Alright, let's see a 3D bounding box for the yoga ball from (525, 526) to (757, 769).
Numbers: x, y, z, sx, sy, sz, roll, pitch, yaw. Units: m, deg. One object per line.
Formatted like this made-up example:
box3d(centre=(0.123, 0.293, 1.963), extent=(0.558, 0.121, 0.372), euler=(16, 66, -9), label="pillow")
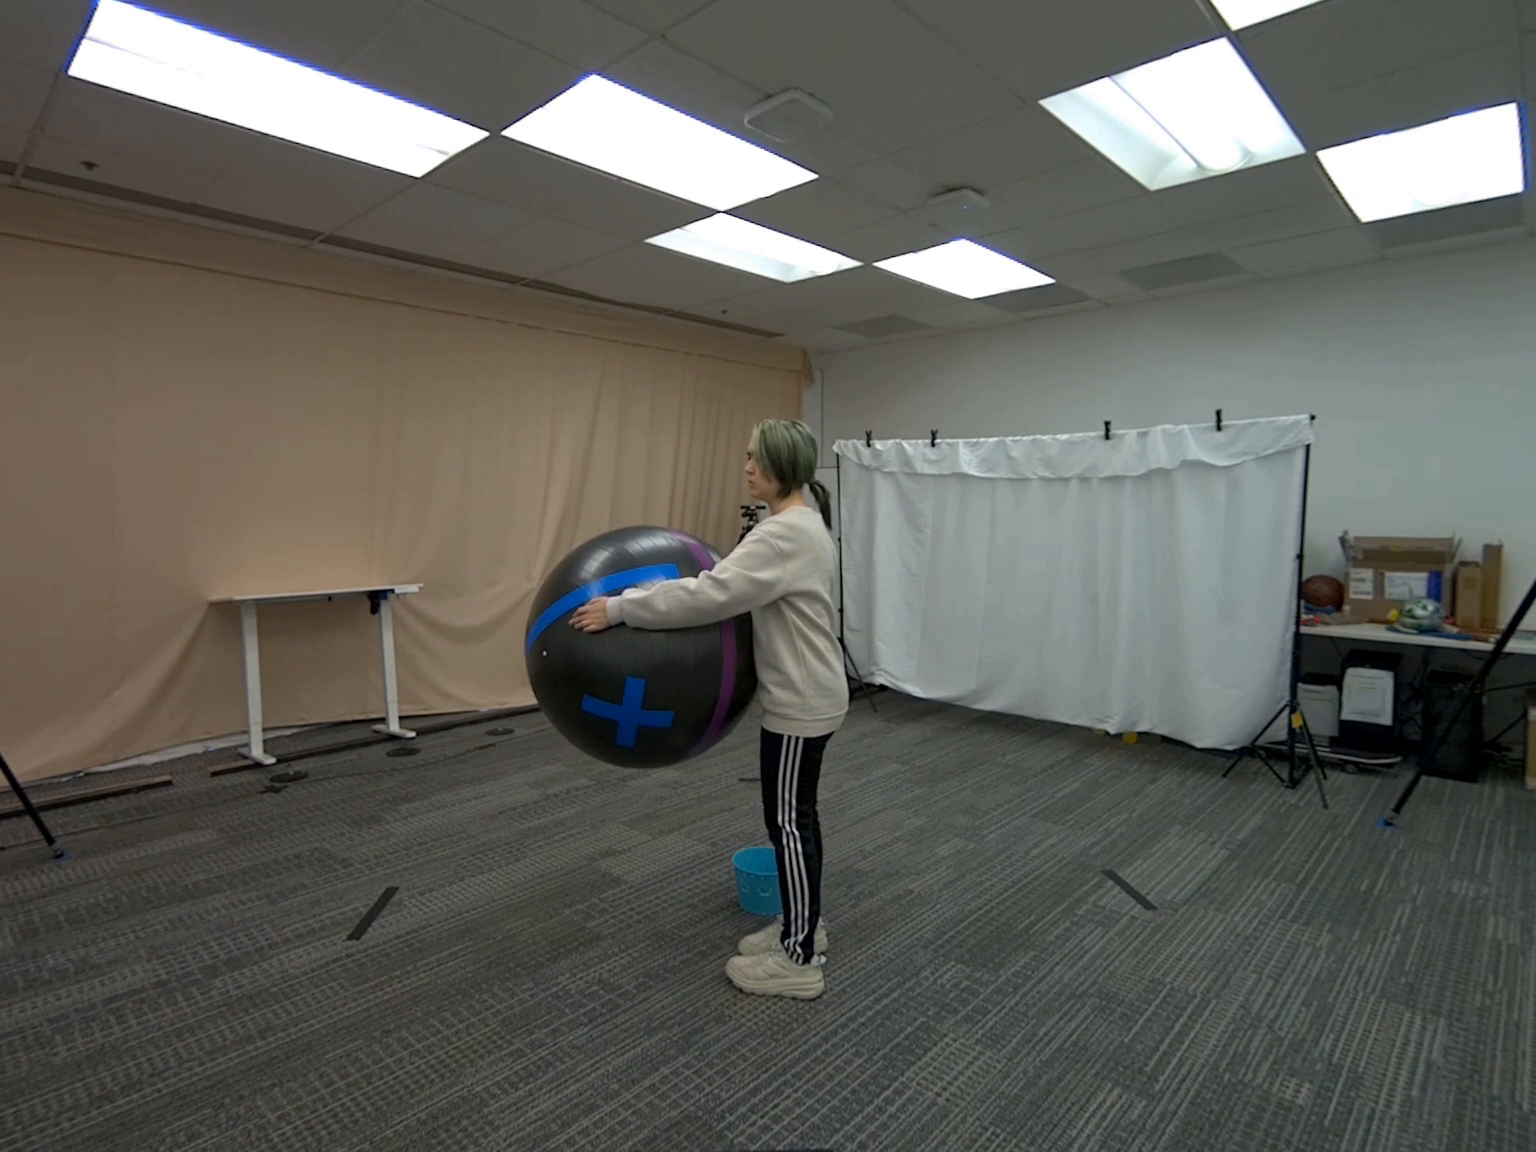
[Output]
box3d(centre=(-0.387, 0.227, 2.671), extent=(0.757, 0.756, 0.760), euler=(0, 4, -2), label="yoga ball")
